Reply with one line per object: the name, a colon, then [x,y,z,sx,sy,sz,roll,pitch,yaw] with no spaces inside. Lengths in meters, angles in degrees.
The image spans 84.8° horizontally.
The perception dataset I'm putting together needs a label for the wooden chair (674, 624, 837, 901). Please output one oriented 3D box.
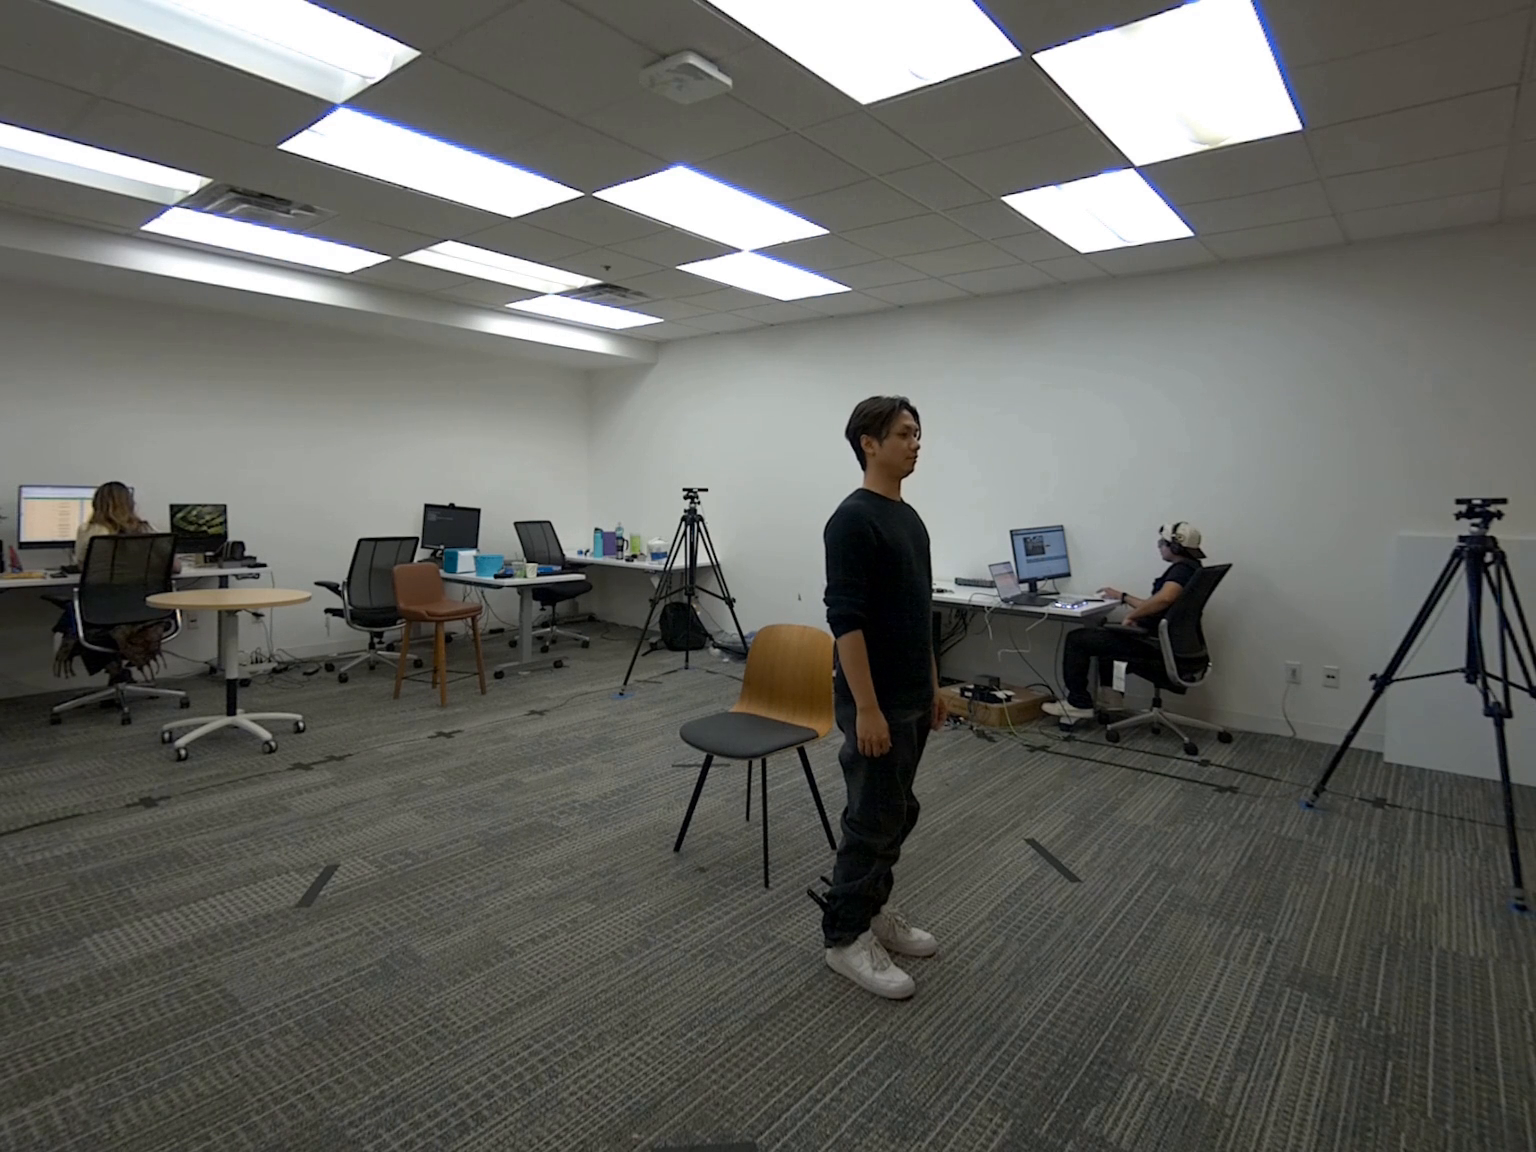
wooden chair: [-0.050,0.633,3.249,0.494,0.877,0.506,5,0,38]
